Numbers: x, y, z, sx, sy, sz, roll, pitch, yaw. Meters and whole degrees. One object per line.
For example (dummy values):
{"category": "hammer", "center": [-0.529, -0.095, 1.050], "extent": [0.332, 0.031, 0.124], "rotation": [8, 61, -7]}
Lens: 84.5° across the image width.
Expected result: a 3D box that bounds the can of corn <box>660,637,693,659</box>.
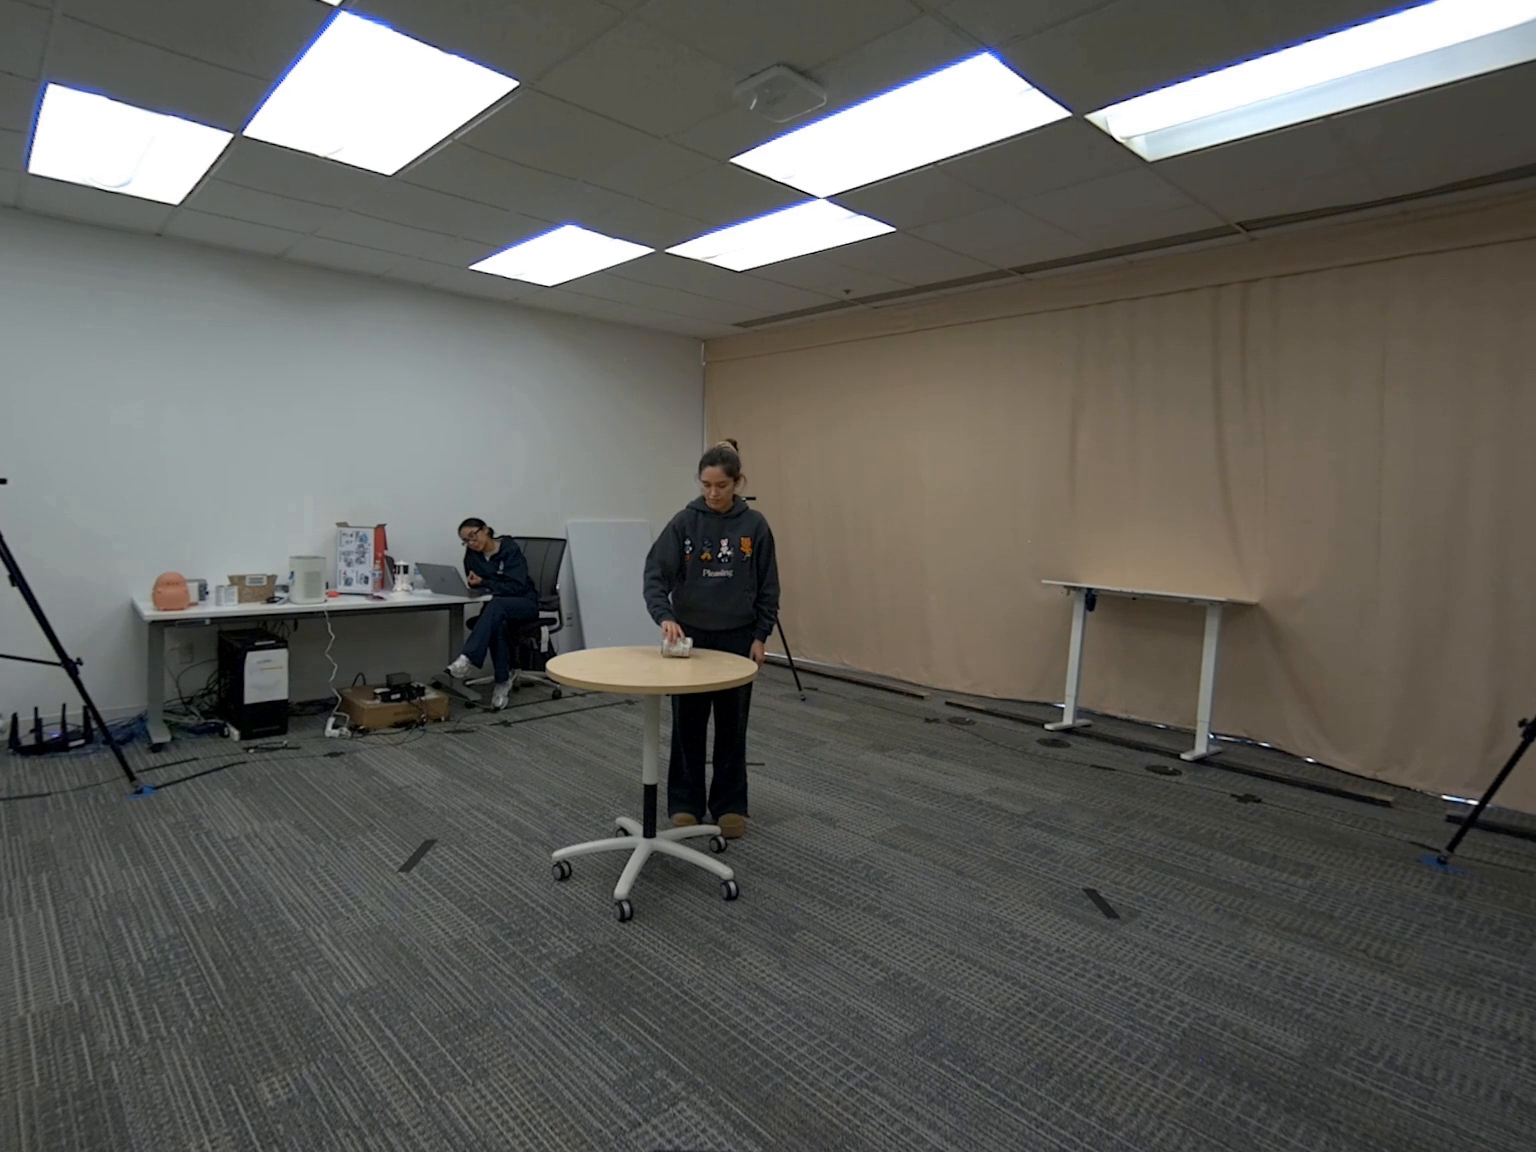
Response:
{"category": "can of corn", "center": [-0.370, 0.266, 3.210], "extent": [0.111, 0.074, 0.074], "rotation": [4, 5, -1]}
